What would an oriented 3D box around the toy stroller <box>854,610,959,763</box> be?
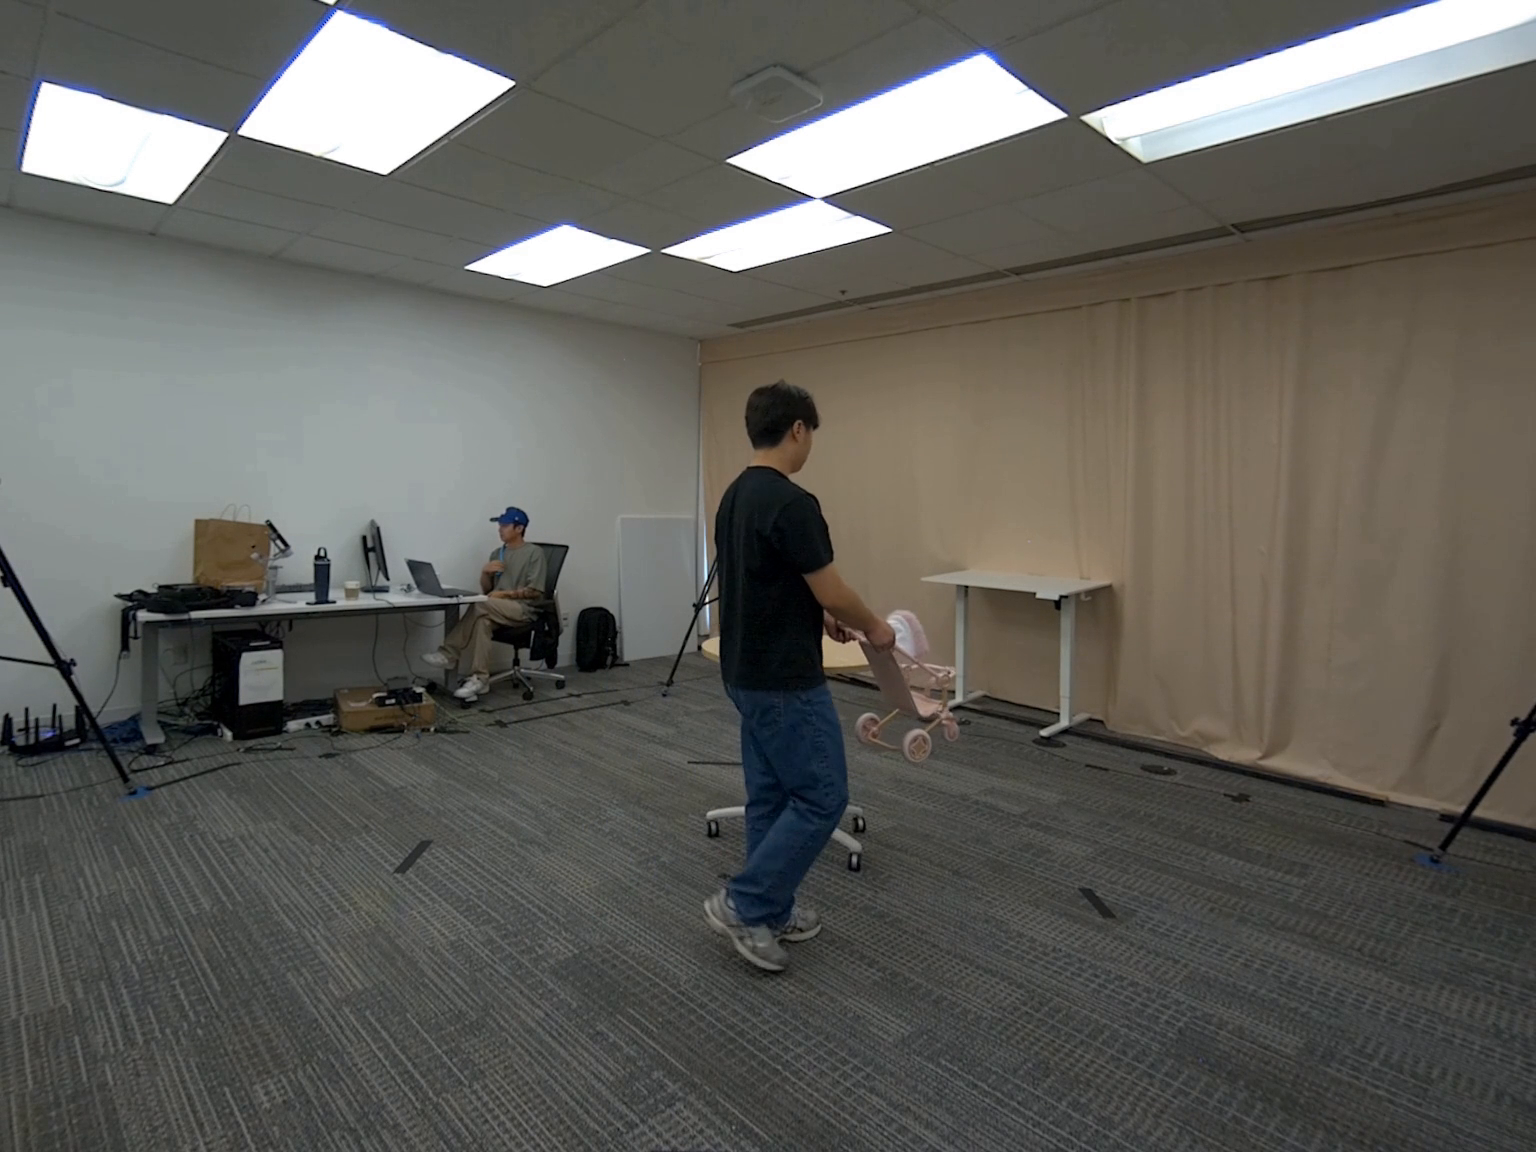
[{"bbox_3d":[0.461,0.353,2.801,0.337,0.531,0.287,-18,10,-22],"label":"toy stroller"}]
